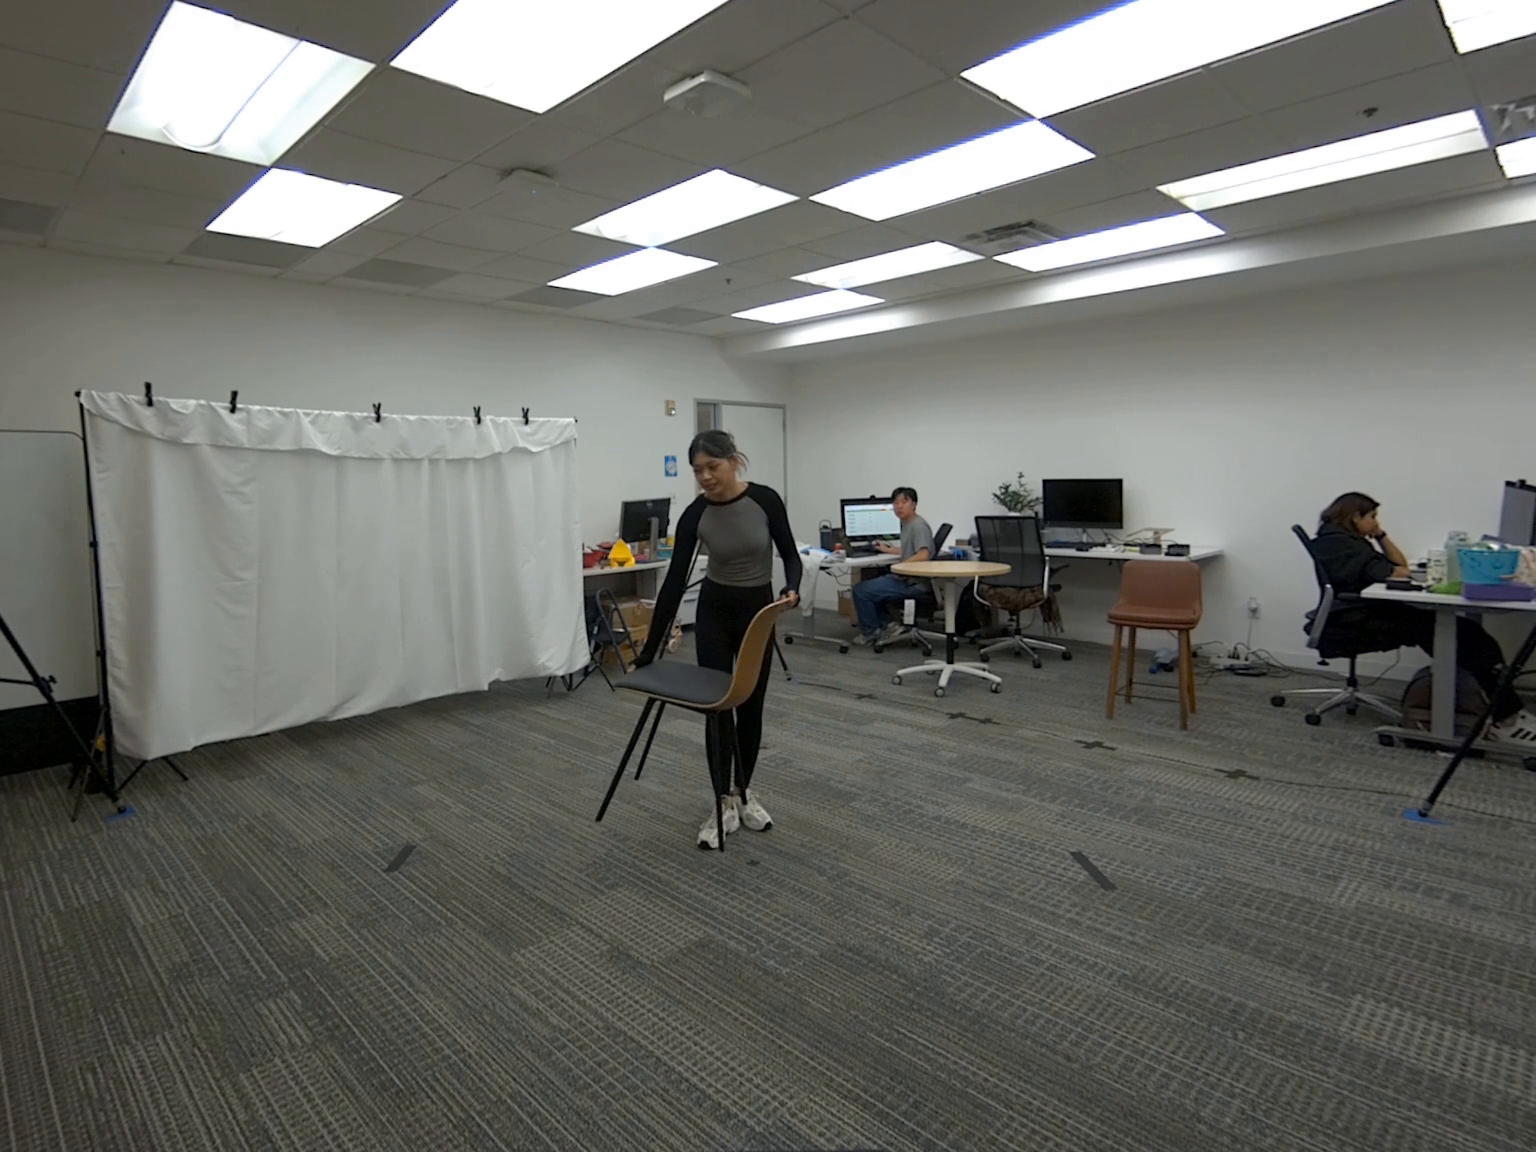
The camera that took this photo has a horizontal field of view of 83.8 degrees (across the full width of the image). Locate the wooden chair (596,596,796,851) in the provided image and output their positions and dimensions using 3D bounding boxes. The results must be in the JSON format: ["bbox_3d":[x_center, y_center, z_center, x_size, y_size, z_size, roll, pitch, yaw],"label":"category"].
[{"bbox_3d":[-0.269,0.447,3.064,0.530,0.874,0.473,13,6,11],"label":"wooden chair"}]
